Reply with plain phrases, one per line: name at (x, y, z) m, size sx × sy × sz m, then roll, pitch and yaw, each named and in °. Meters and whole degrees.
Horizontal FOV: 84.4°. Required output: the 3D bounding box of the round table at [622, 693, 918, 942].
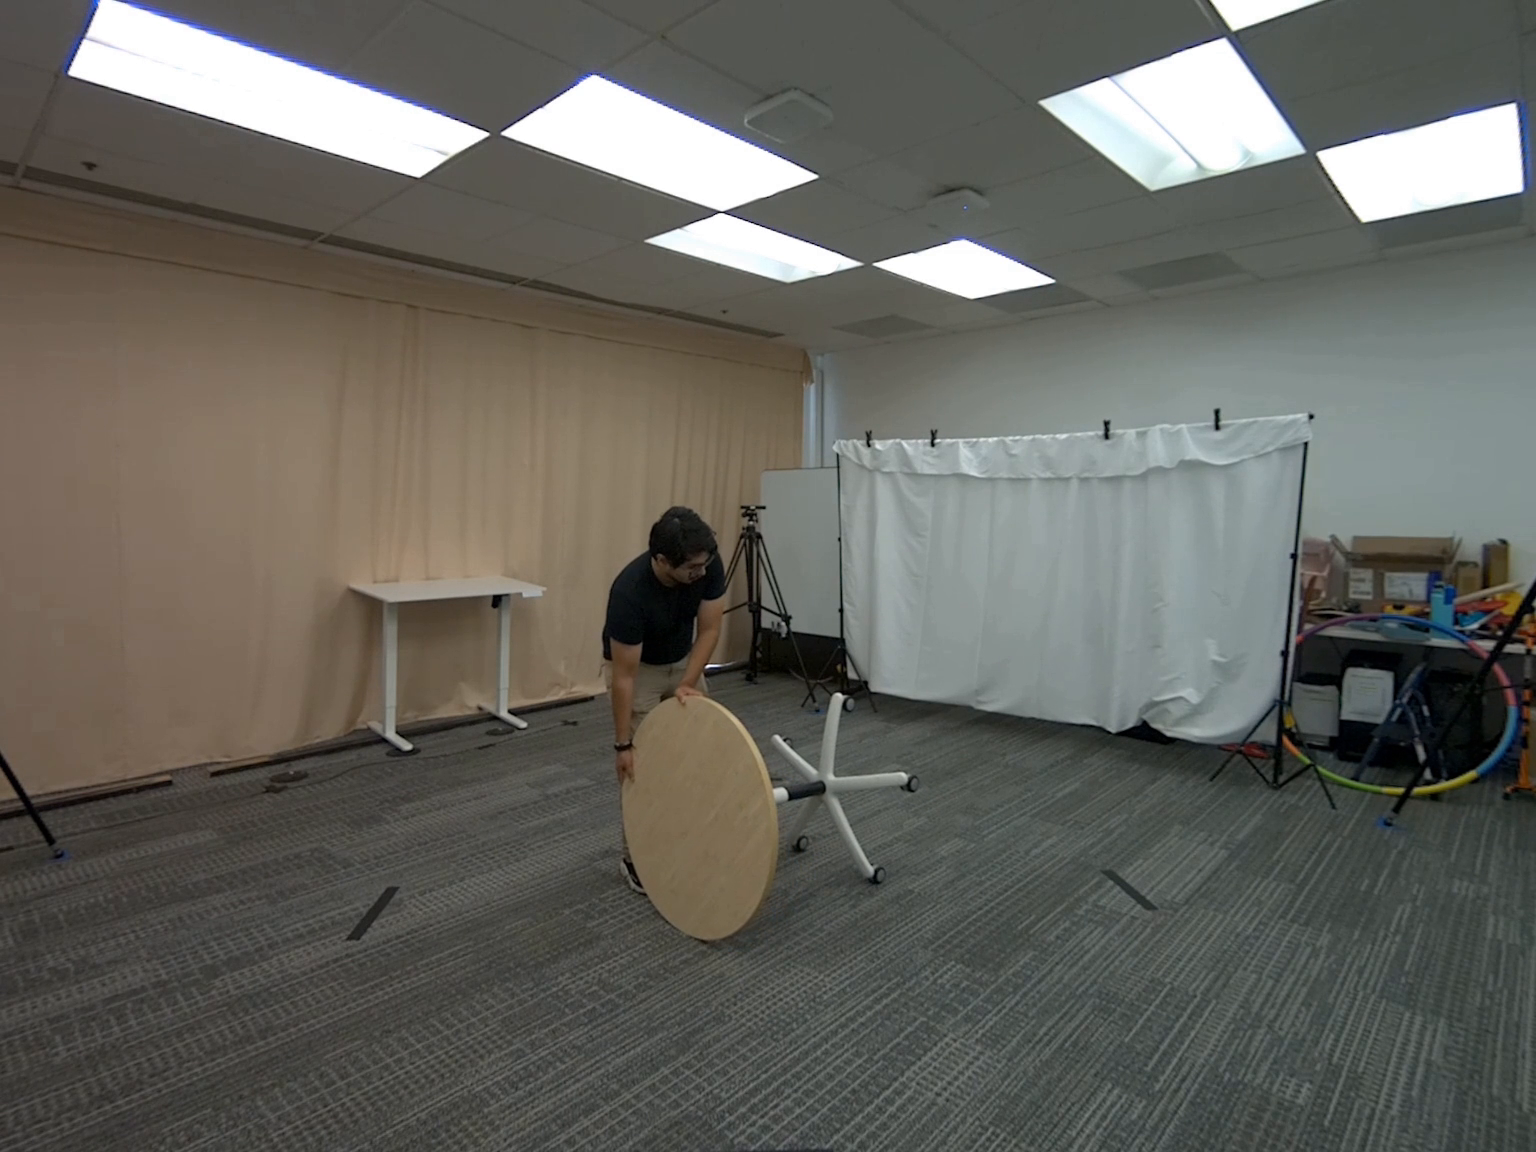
round table at (0.031, 0.784, 3.008) m, size 0.761 × 0.785 × 0.811 m, roll 2°, pitch 1°, yaw -43°
